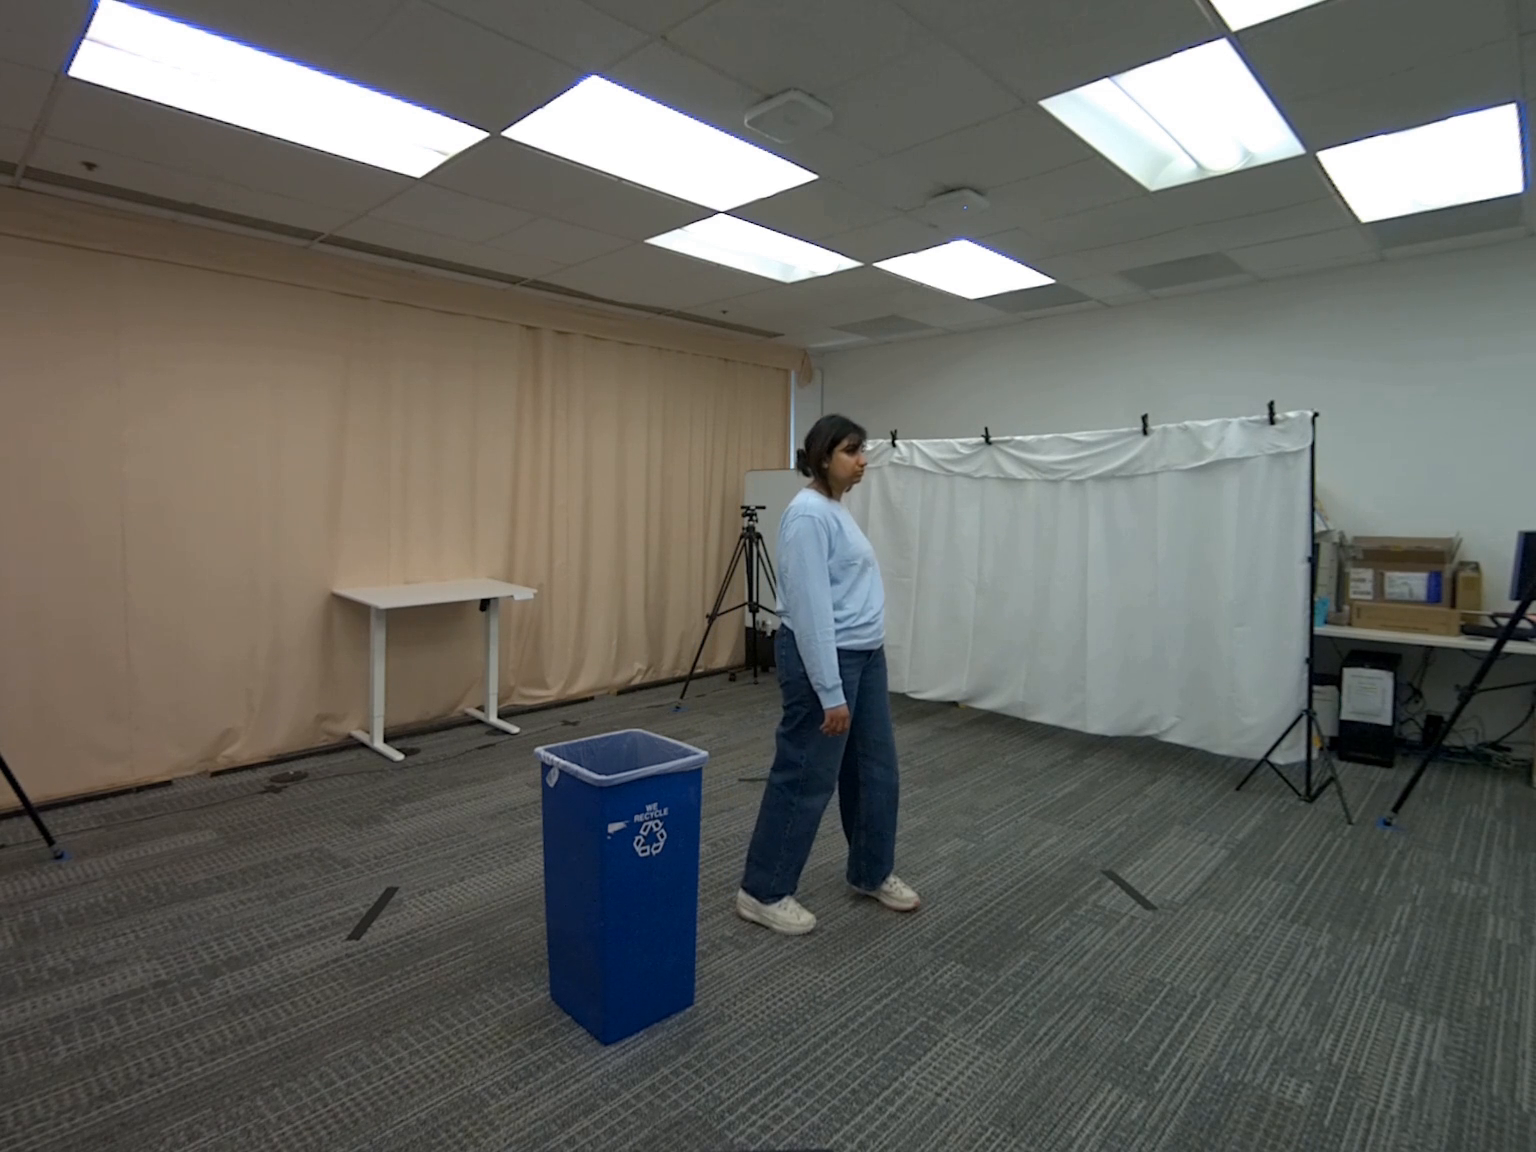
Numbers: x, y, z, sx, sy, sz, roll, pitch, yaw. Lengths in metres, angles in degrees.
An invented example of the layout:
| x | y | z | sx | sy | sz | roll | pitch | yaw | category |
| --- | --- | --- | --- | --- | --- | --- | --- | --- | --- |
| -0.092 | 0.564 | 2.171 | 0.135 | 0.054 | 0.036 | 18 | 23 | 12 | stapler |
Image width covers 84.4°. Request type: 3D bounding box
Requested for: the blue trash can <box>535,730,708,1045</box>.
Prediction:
| x | y | z | sx | sy | sz | roll | pitch | yaw | category |
| --- | --- | --- | --- | --- | --- | --- | --- | --- | --- |
| -0.402 | 0.843 | 2.354 | 0.366 | 0.712 | 0.386 | -2 | 3 | -43 | blue trash can |
